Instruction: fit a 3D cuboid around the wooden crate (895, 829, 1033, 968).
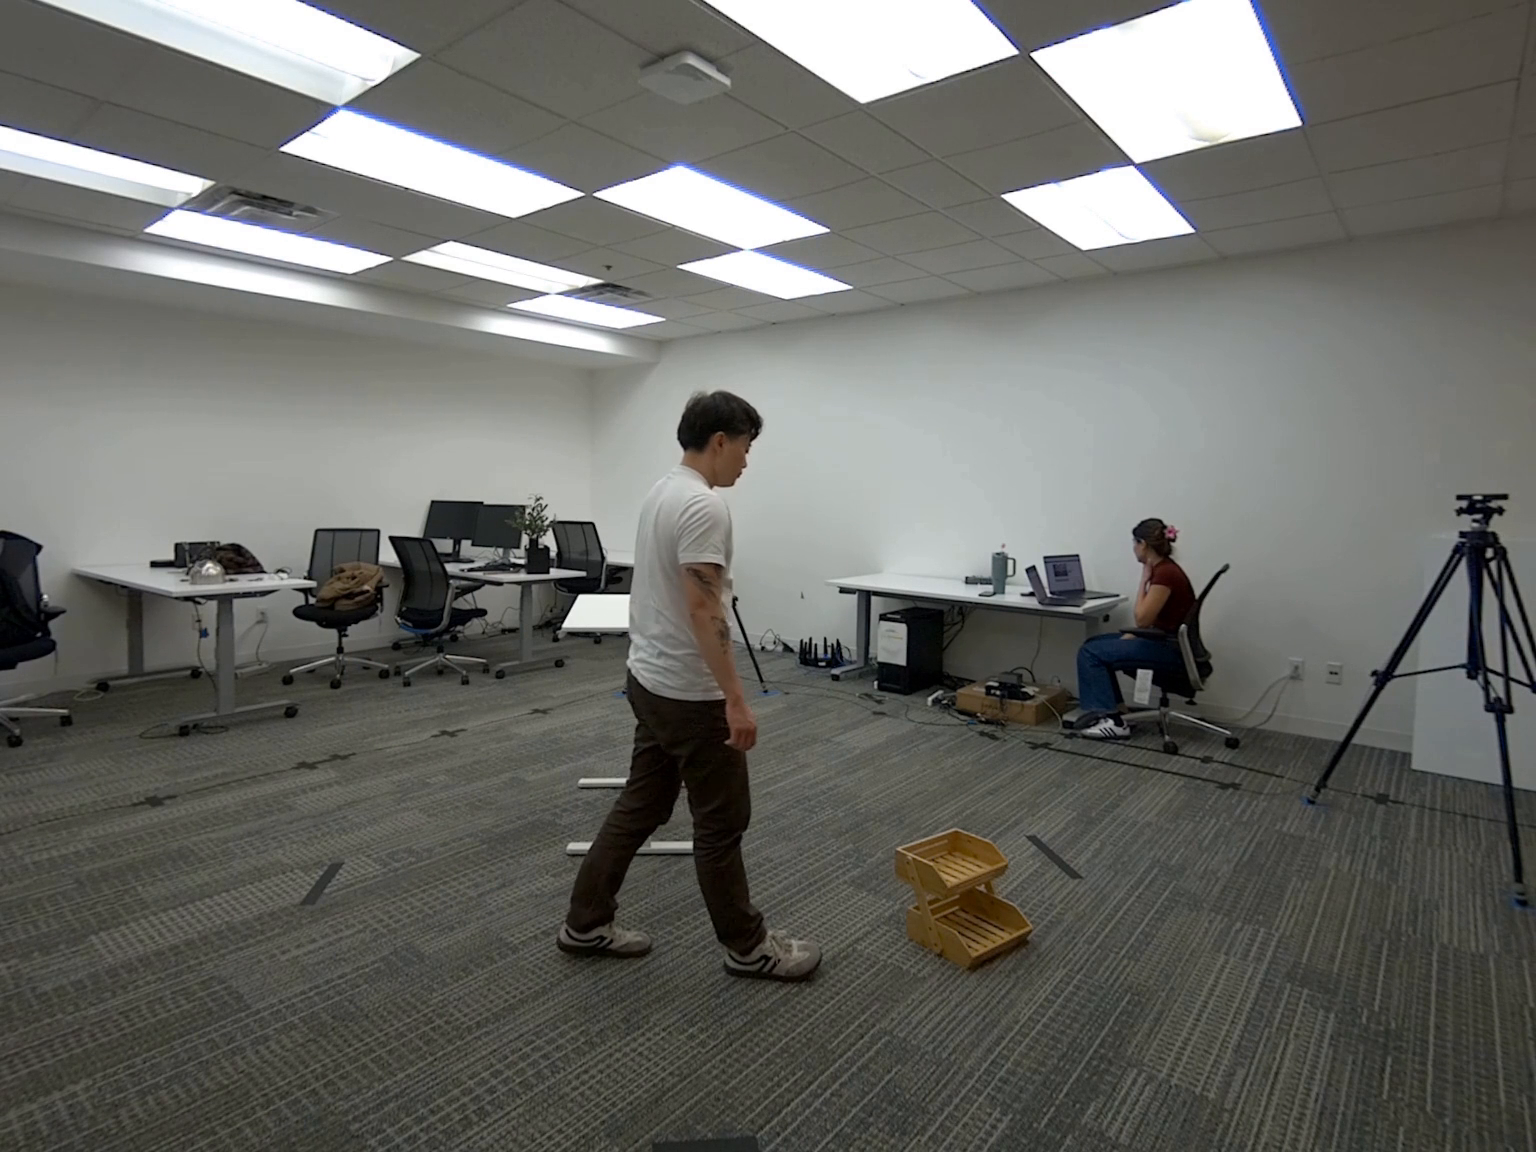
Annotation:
[{"bbox_3d":[0.614,0.996,2.663,0.315,0.272,0.312,-2,4,-38],"label":"wooden crate"}]
